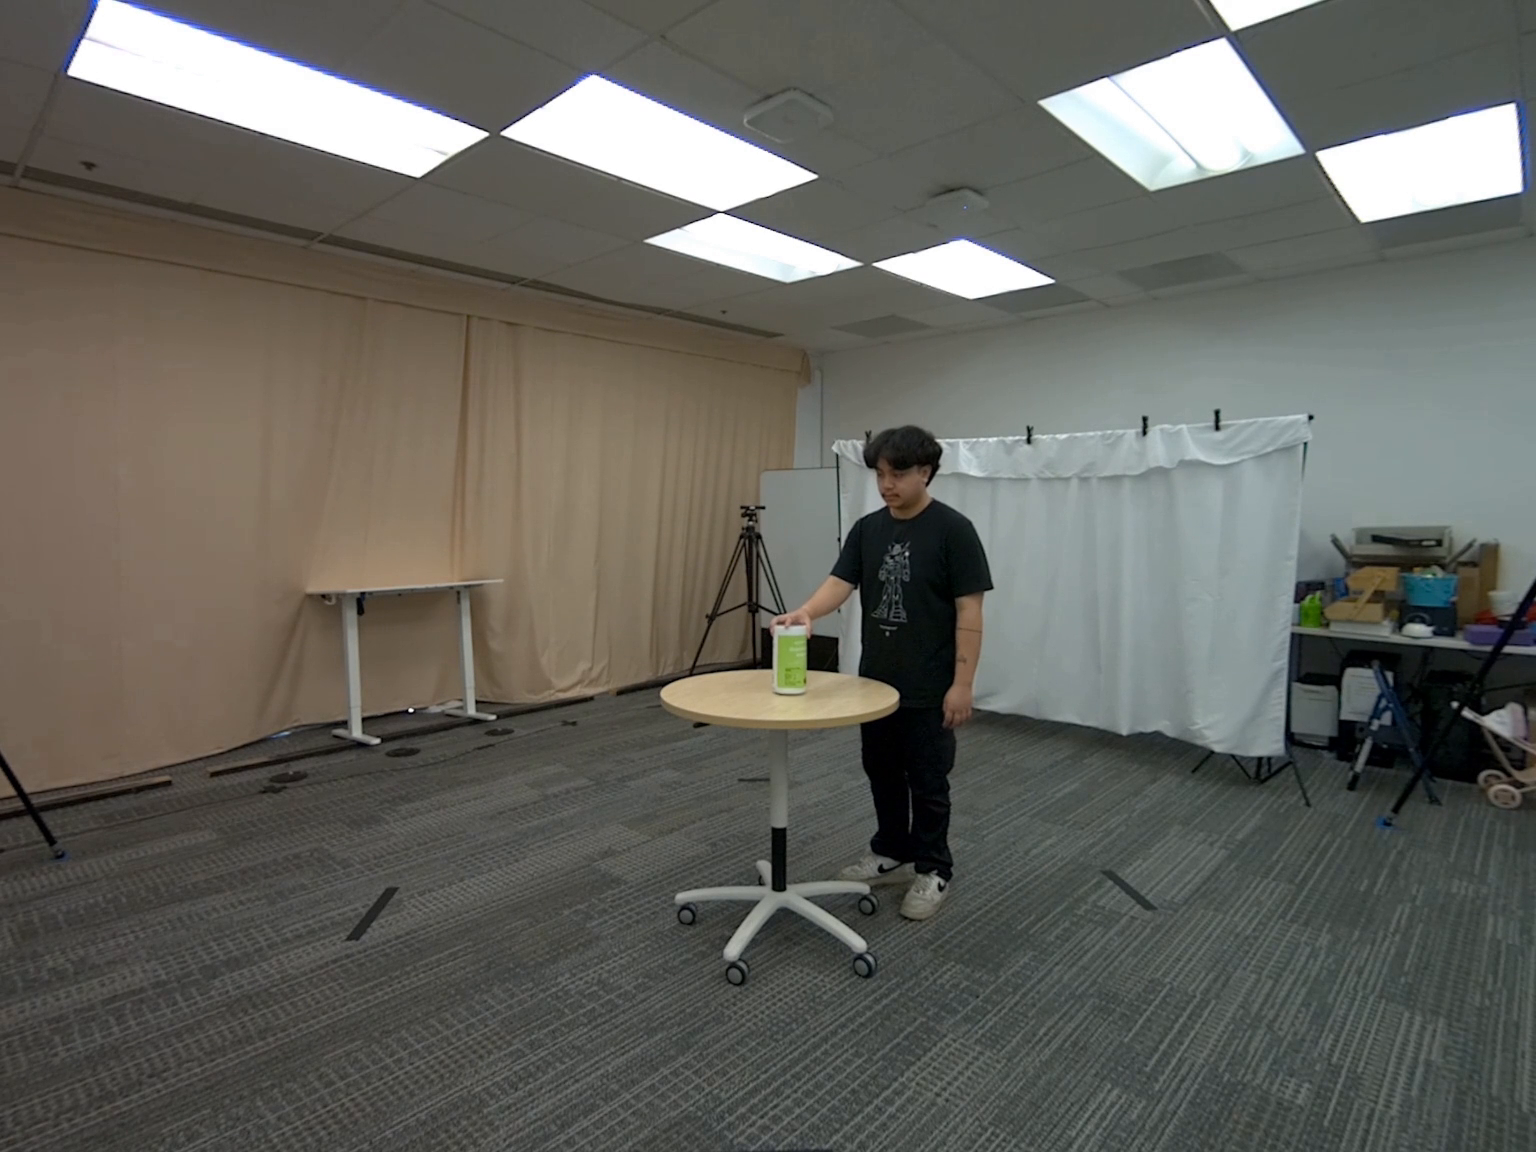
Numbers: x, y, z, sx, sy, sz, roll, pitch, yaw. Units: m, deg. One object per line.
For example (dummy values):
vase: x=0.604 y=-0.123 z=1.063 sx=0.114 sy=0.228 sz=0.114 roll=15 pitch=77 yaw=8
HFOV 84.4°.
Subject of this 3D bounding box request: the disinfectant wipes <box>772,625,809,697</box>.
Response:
disinfectant wipes: x=0.073 y=0.263 z=2.700 sx=0.118 sy=0.217 sz=0.118 roll=1 pitch=3 yaw=-2
